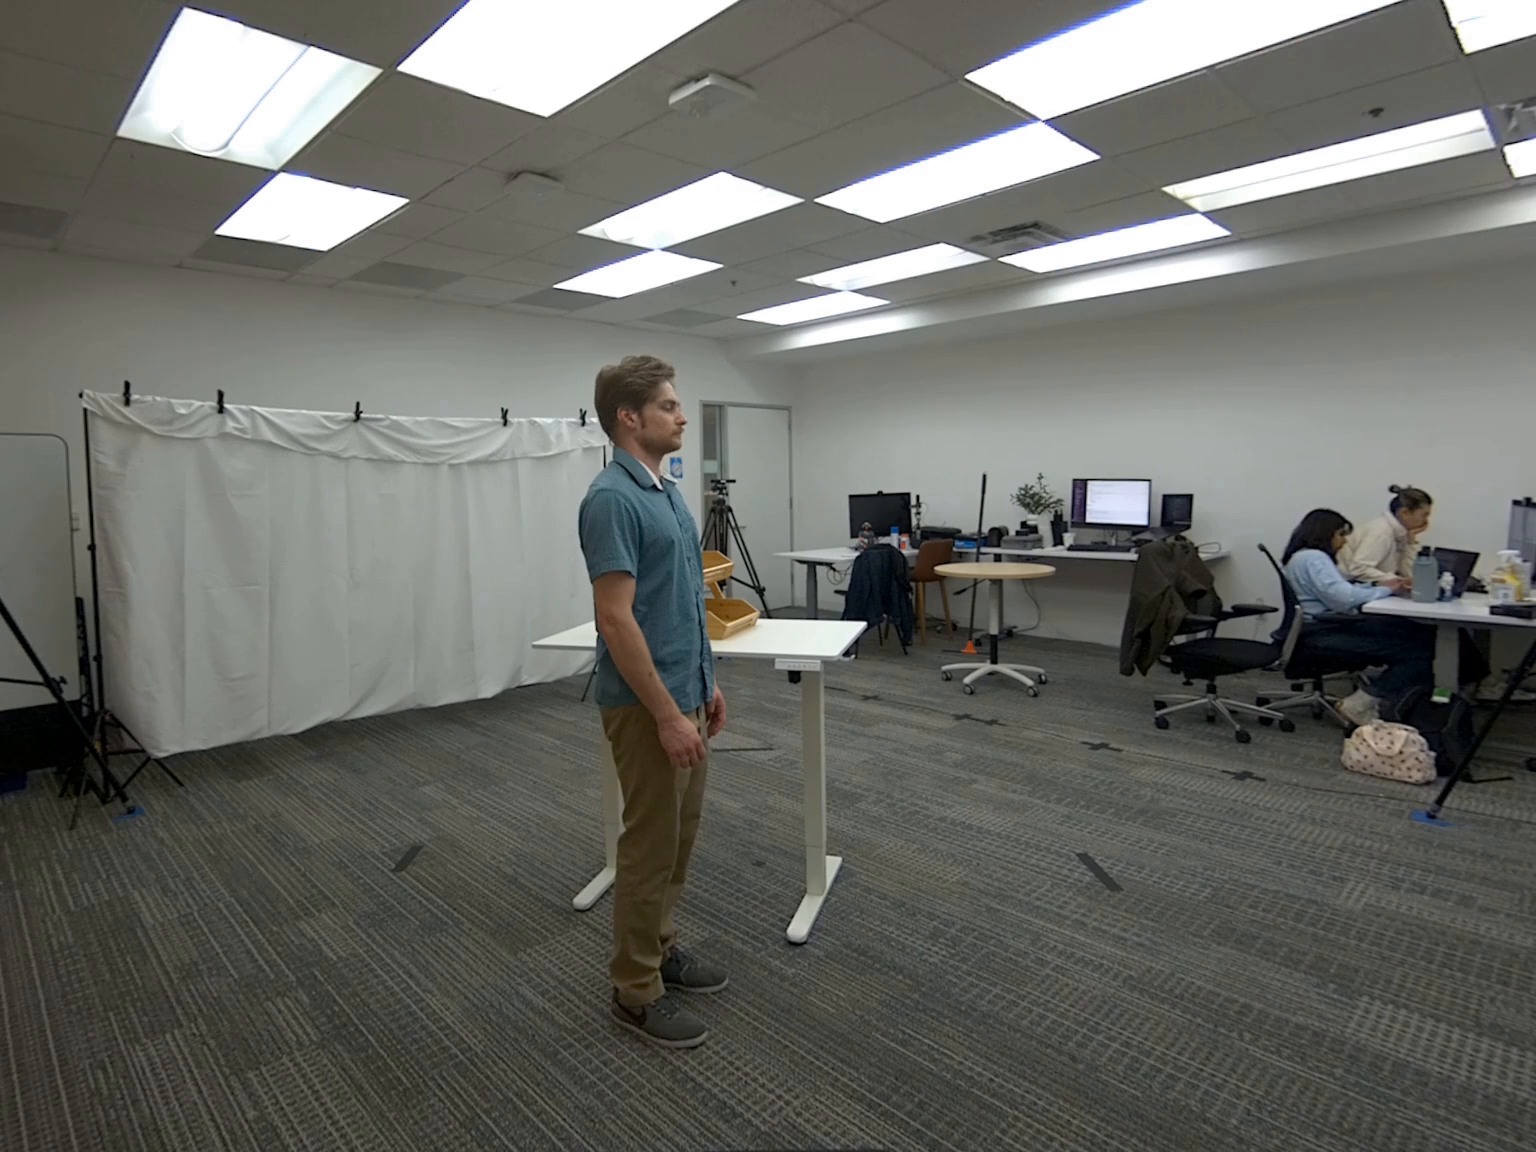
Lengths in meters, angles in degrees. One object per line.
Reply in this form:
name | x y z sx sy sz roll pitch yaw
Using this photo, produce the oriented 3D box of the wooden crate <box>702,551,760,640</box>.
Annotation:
wooden crate | -0.217 0.055 2.920 0.308 0.272 0.319 0 5 22
